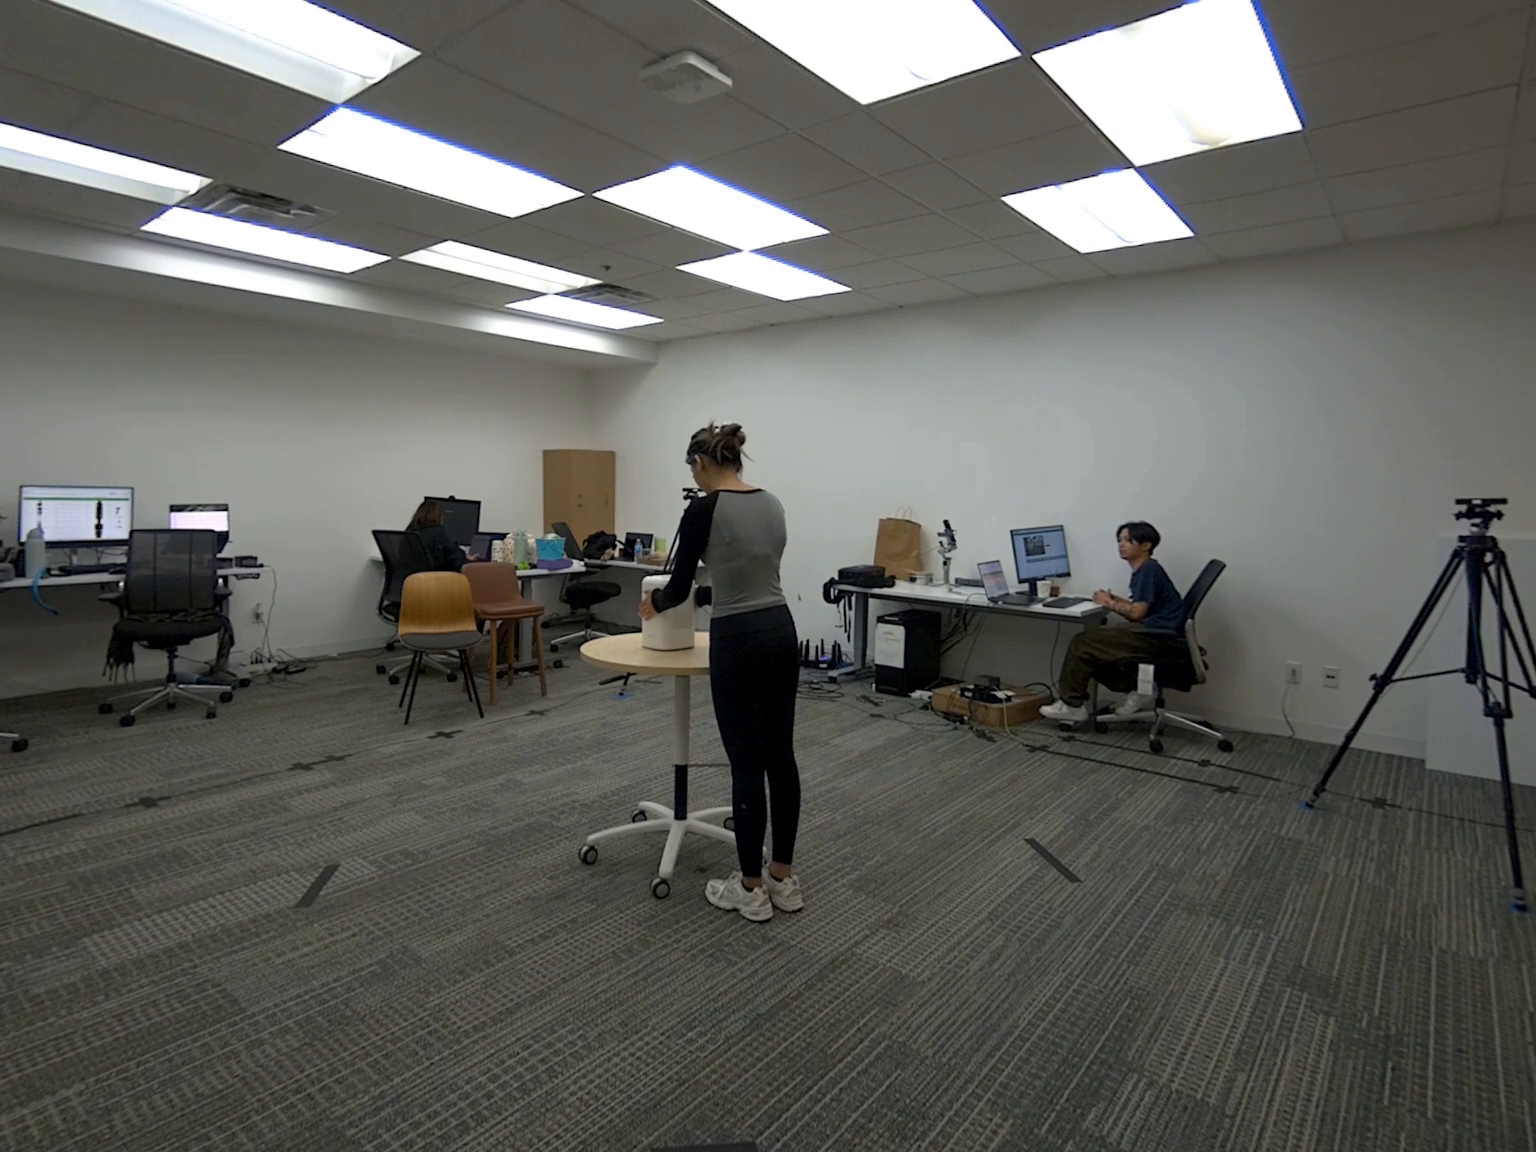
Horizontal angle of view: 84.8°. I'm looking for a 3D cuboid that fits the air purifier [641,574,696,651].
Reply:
[{"bbox_3d":[-0.386,0.131,3.200,0.166,0.265,0.177,-3,4,-43],"label":"air purifier"}]
